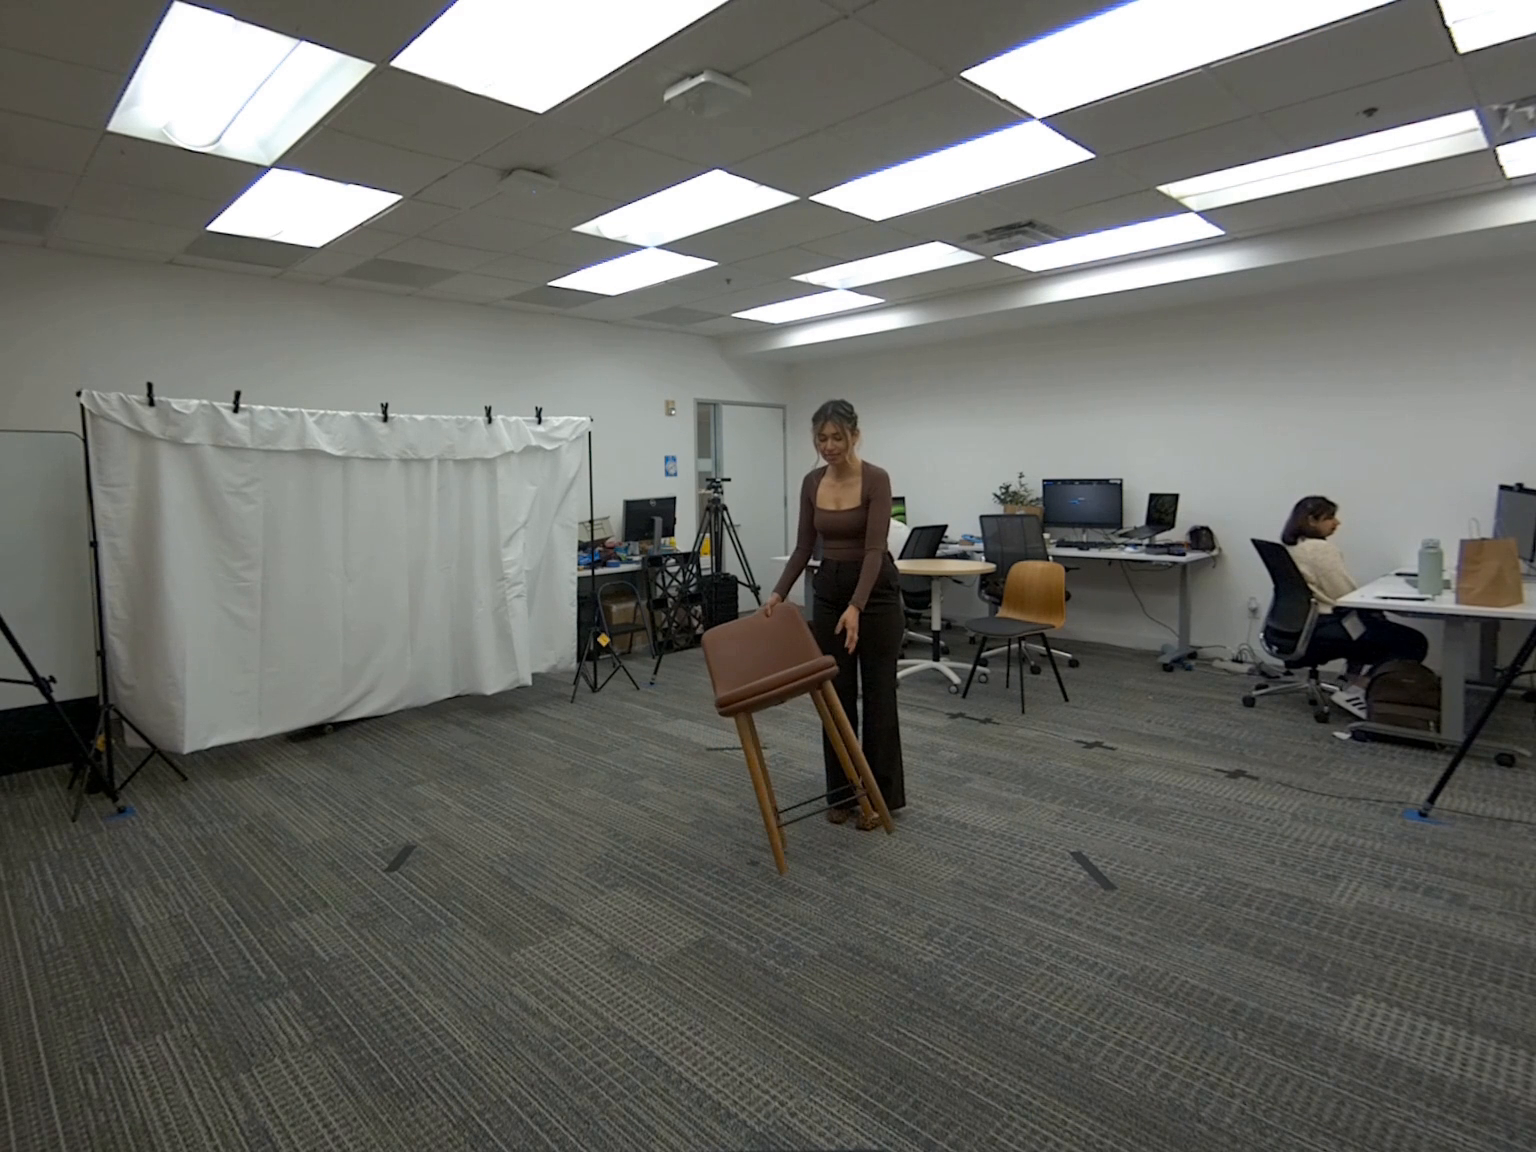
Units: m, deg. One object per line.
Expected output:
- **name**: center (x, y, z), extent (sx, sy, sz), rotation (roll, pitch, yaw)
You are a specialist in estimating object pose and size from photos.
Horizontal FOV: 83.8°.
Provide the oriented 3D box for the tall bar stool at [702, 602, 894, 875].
- **tall bar stool**: center (0.078, 0.536, 3.089), extent (0.456, 0.903, 0.462), rotation (-20, -11, -3)
